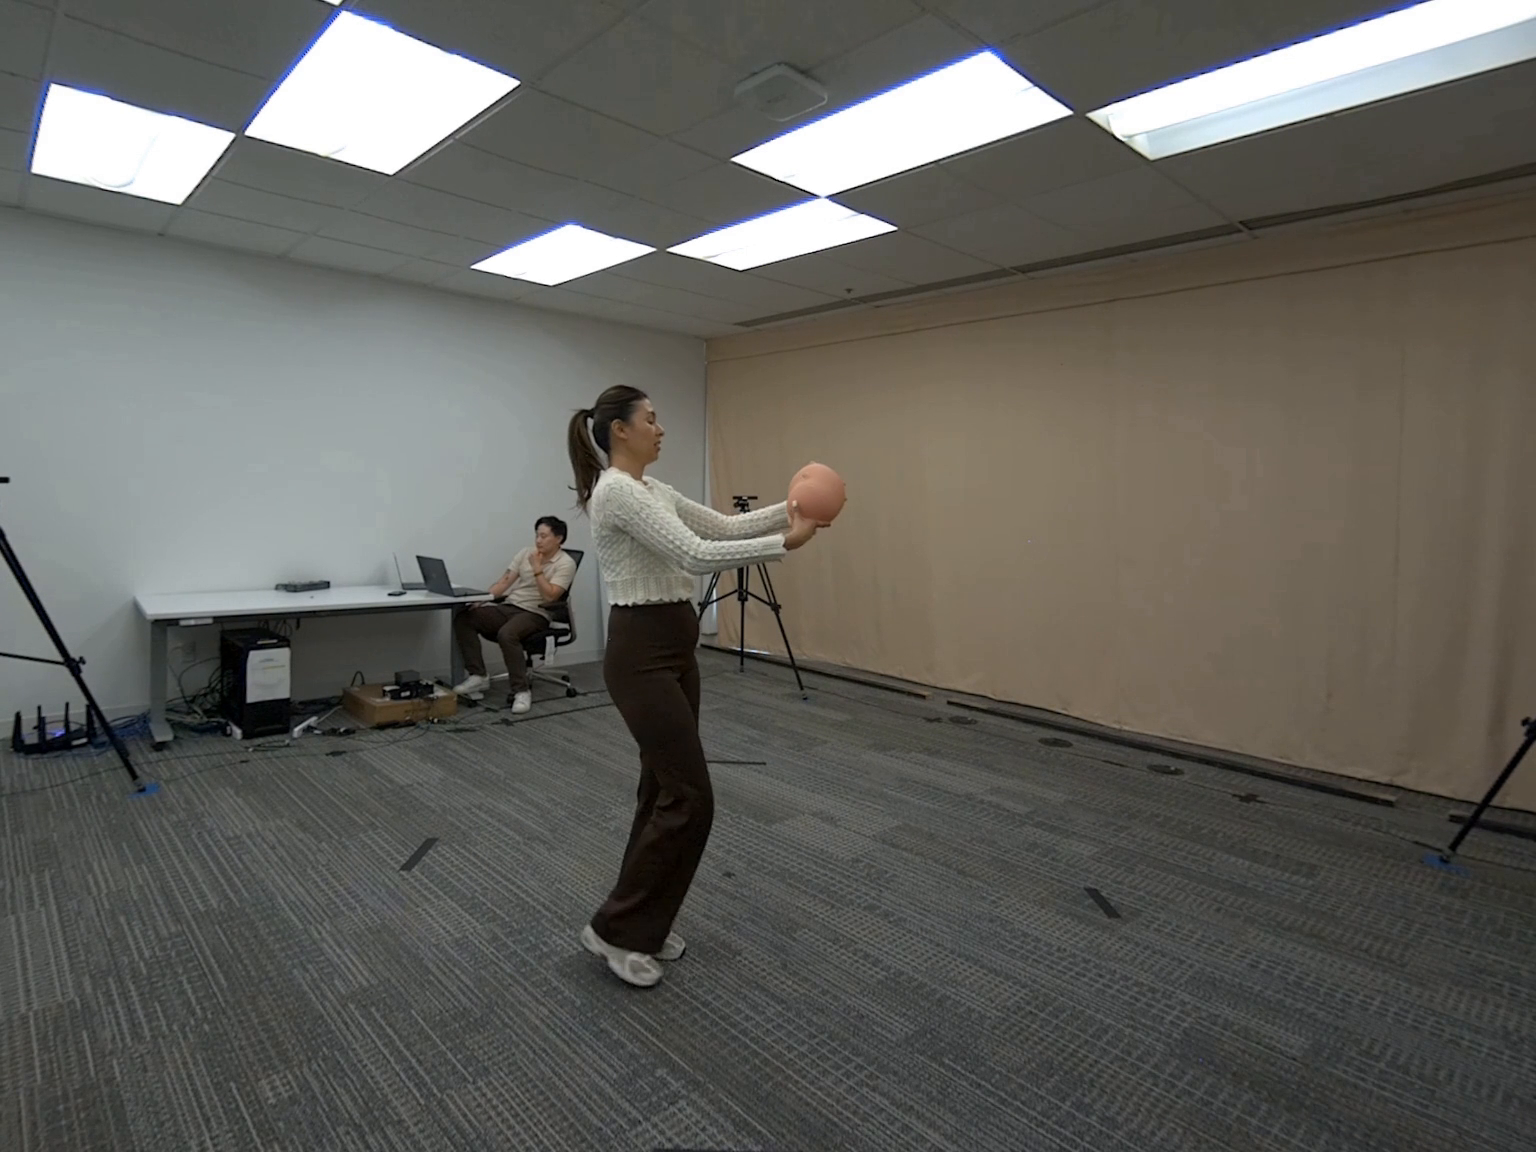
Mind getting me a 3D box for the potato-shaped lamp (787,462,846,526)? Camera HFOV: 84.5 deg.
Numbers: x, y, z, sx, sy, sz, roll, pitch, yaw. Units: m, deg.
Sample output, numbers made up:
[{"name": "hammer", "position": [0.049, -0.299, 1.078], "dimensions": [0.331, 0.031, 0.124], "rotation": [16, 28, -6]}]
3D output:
[{"name": "potato-shaped lamp", "position": [0.122, -0.228, 2.446], "dimensions": [0.167, 0.169, 0.198], "rotation": [20, 26, 13]}]
